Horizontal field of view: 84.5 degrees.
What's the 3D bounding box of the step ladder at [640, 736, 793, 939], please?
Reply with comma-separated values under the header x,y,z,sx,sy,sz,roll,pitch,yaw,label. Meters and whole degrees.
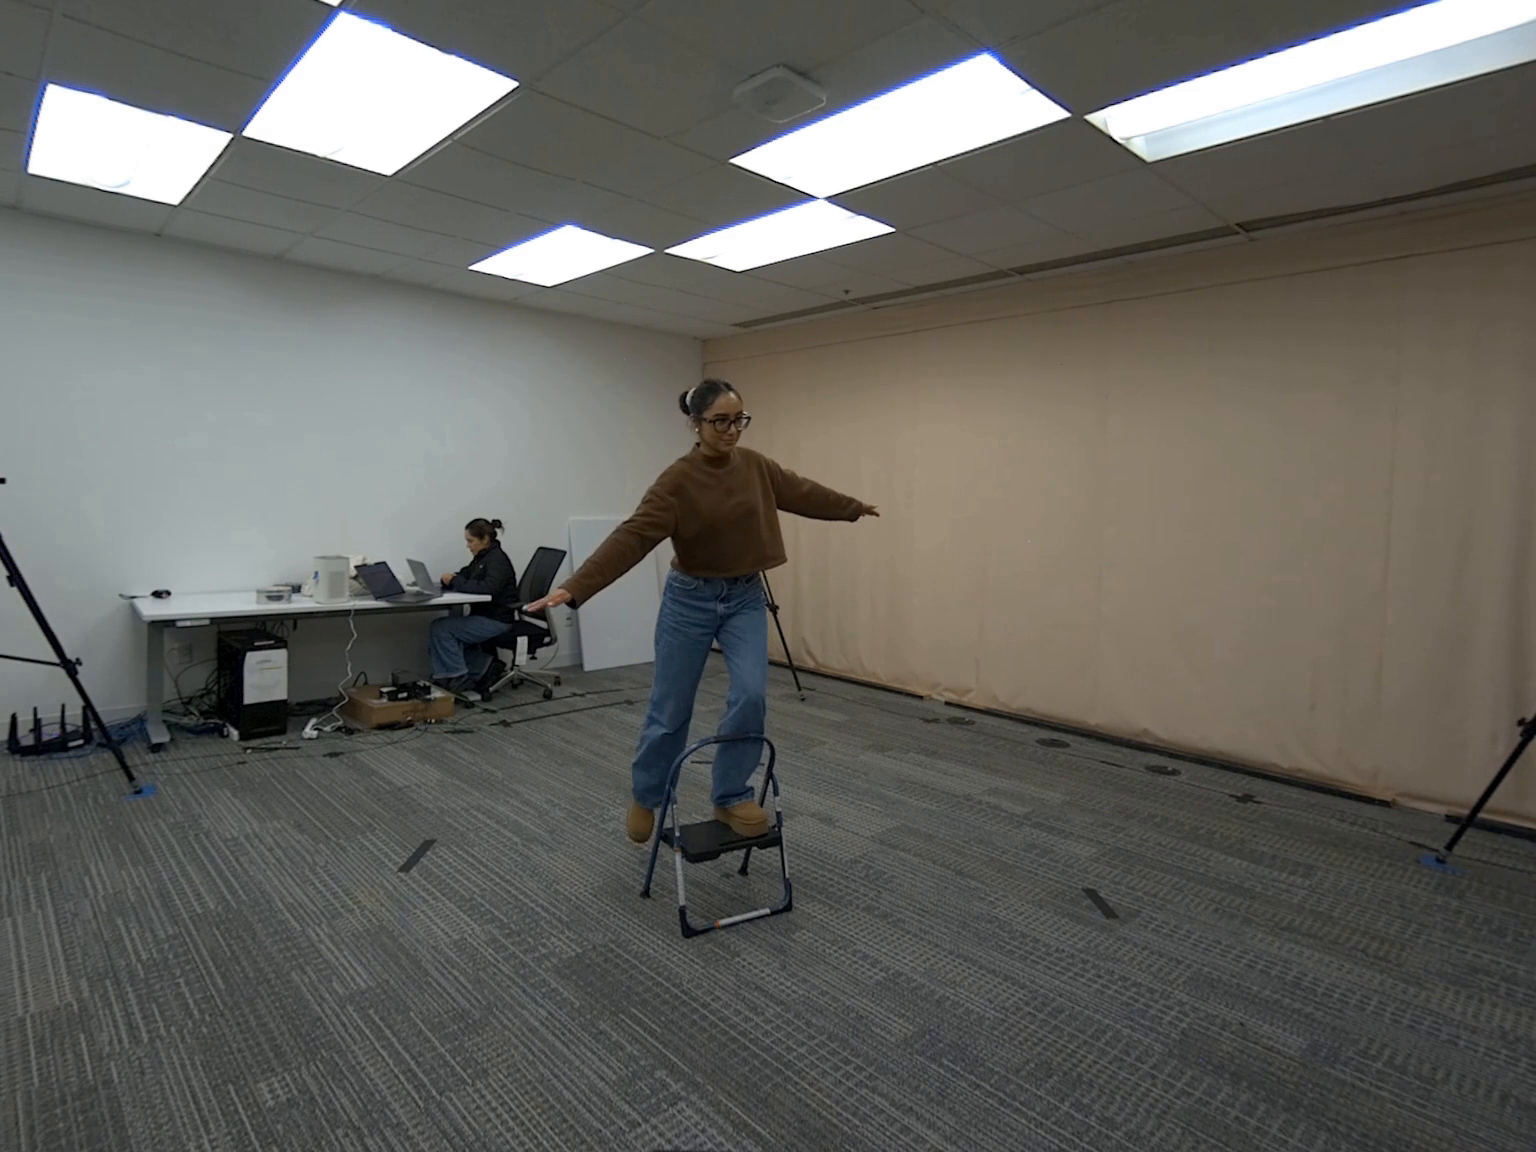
x,y,z,sx,sy,sz,roll,pitch,yaw,label
-0.176,0.827,2.879,0.421,0.605,0.357,0,4,-32,step ladder
